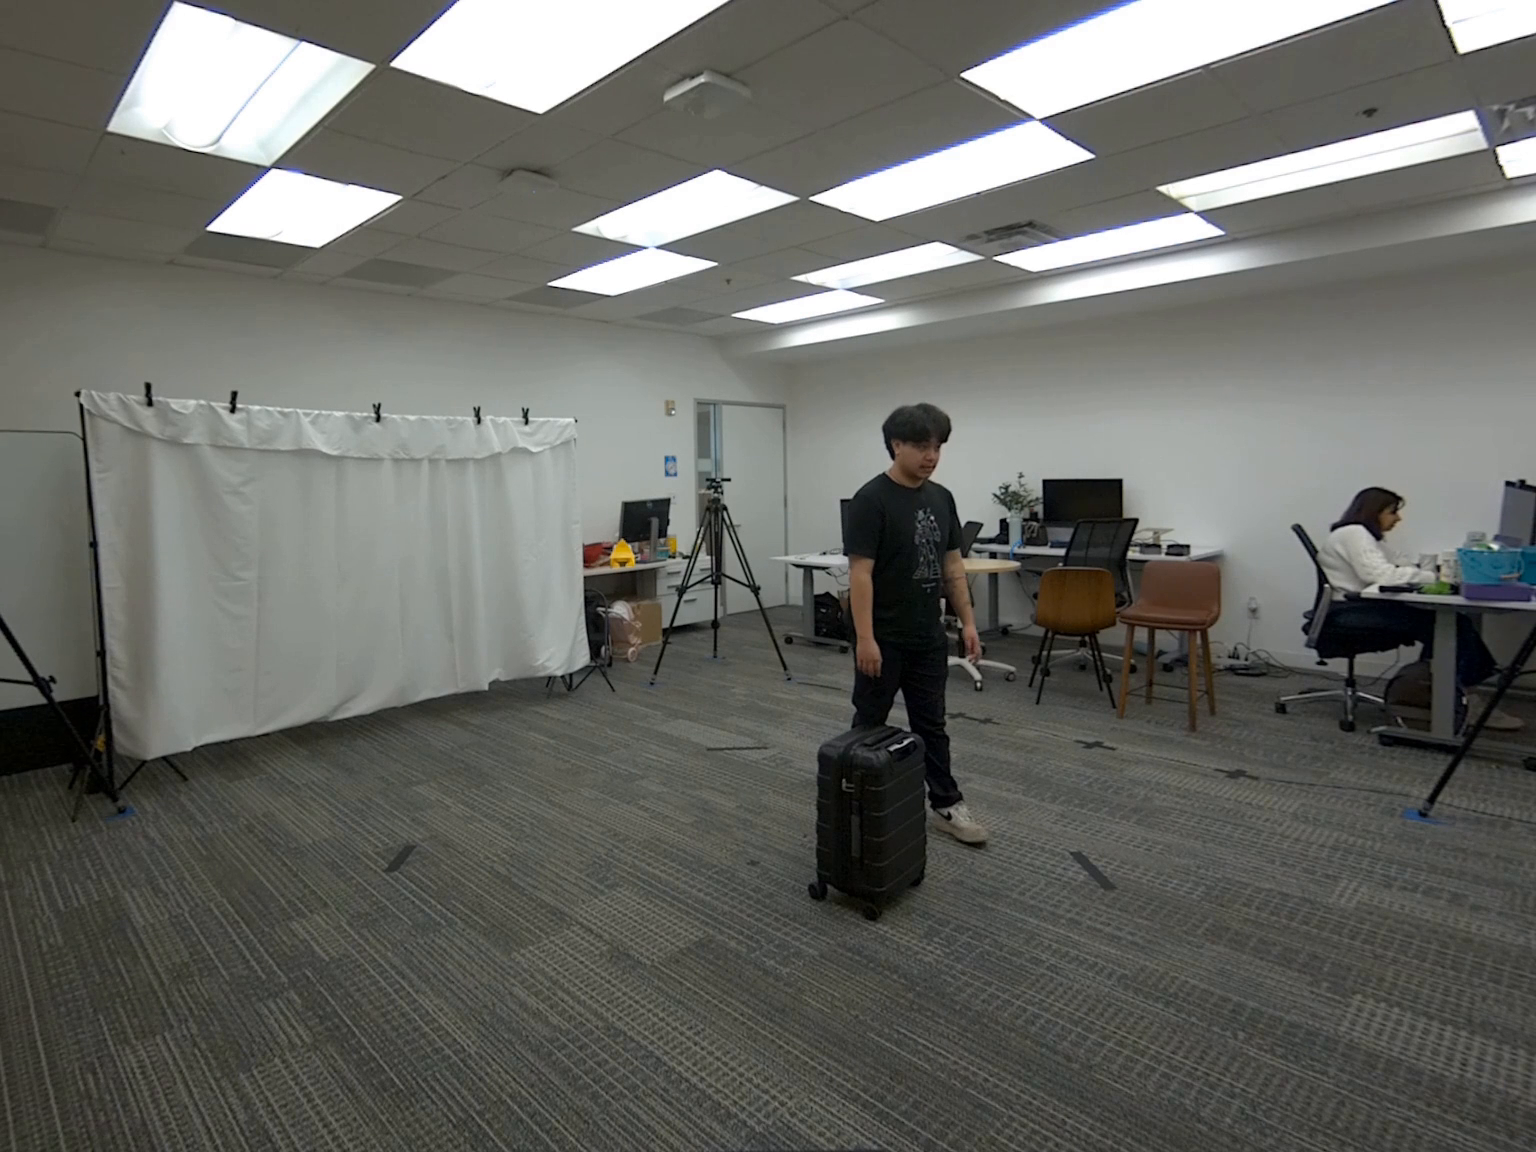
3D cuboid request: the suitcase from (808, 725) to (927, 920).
[{"bbox_3d":[0.348,0.791,2.846,0.256,0.547,0.366,3,6,38],"label":"suitcase"}]
